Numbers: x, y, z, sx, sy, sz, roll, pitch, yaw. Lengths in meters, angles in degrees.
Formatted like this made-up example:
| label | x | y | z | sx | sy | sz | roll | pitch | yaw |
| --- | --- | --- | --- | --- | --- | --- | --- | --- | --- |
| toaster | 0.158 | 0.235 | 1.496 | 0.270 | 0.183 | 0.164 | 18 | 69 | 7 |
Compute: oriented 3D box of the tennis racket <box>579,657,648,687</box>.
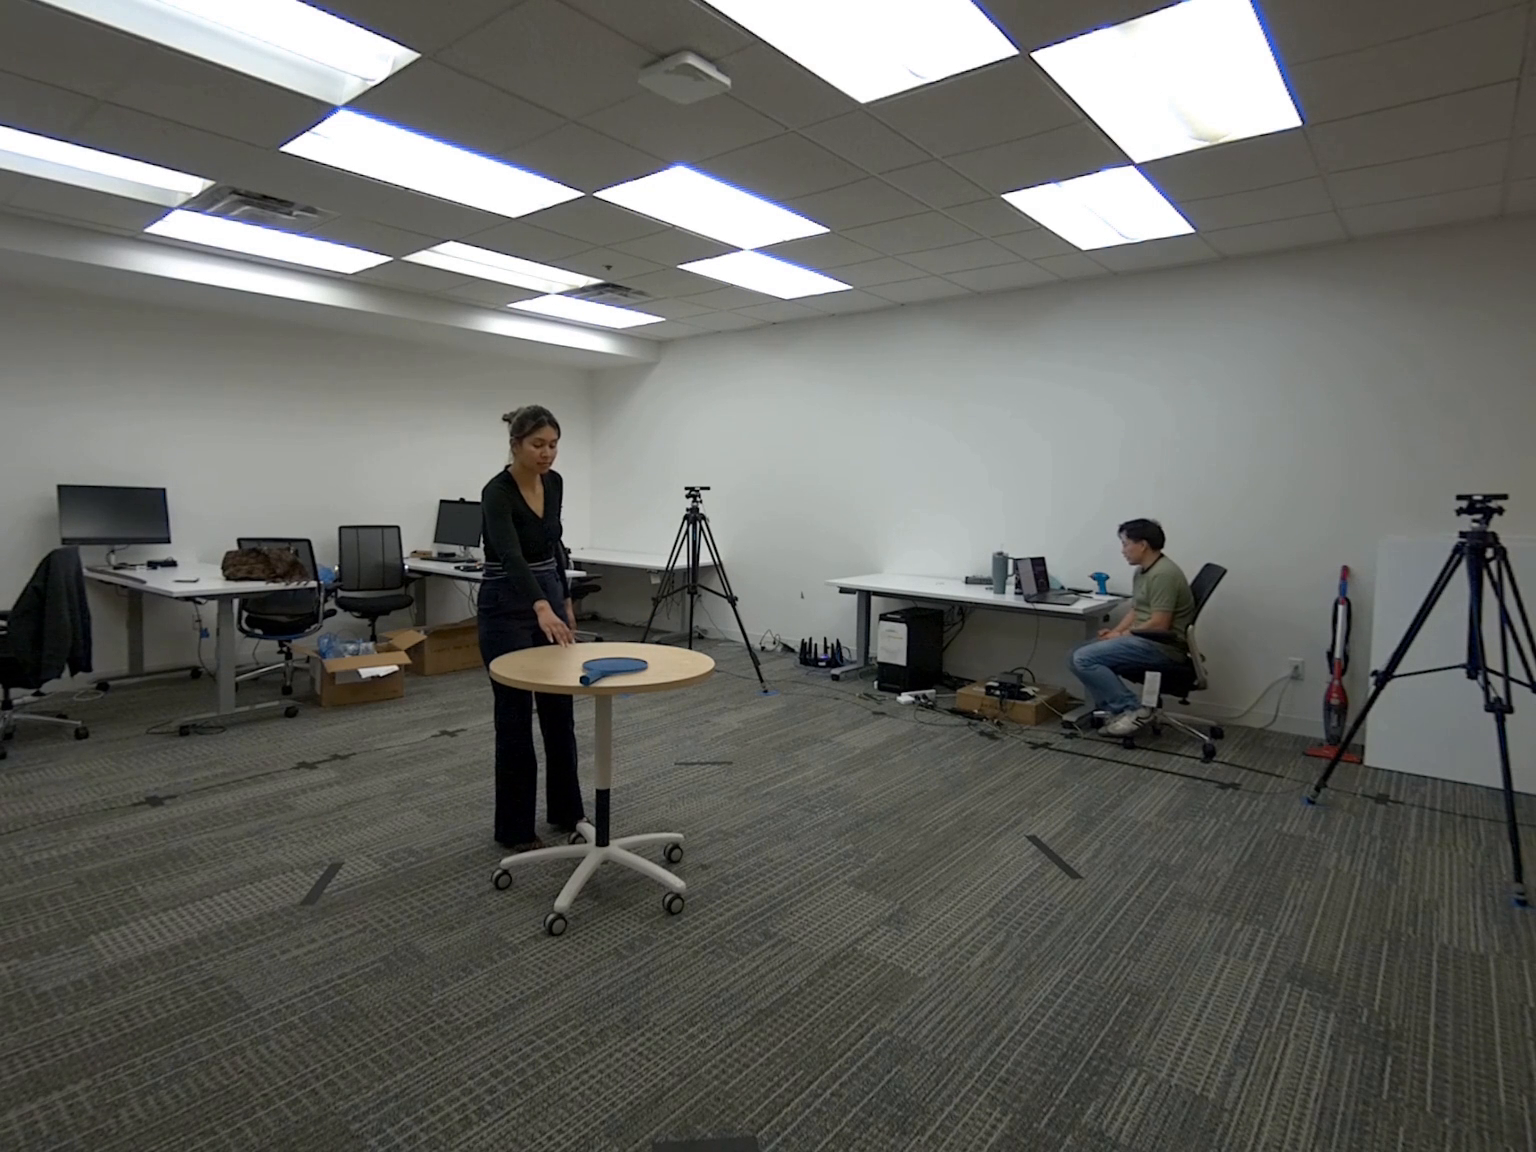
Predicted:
| label | x | y | z | sx | sy | sz | roll | pitch | yaw |
| --- | --- | --- | --- | --- | --- | --- | --- | --- | --- |
| tennis racket | -0.530 | 0.299 | 2.750 | 0.216 | 0.032 | 0.429 | 1 | 3 | 8 |
